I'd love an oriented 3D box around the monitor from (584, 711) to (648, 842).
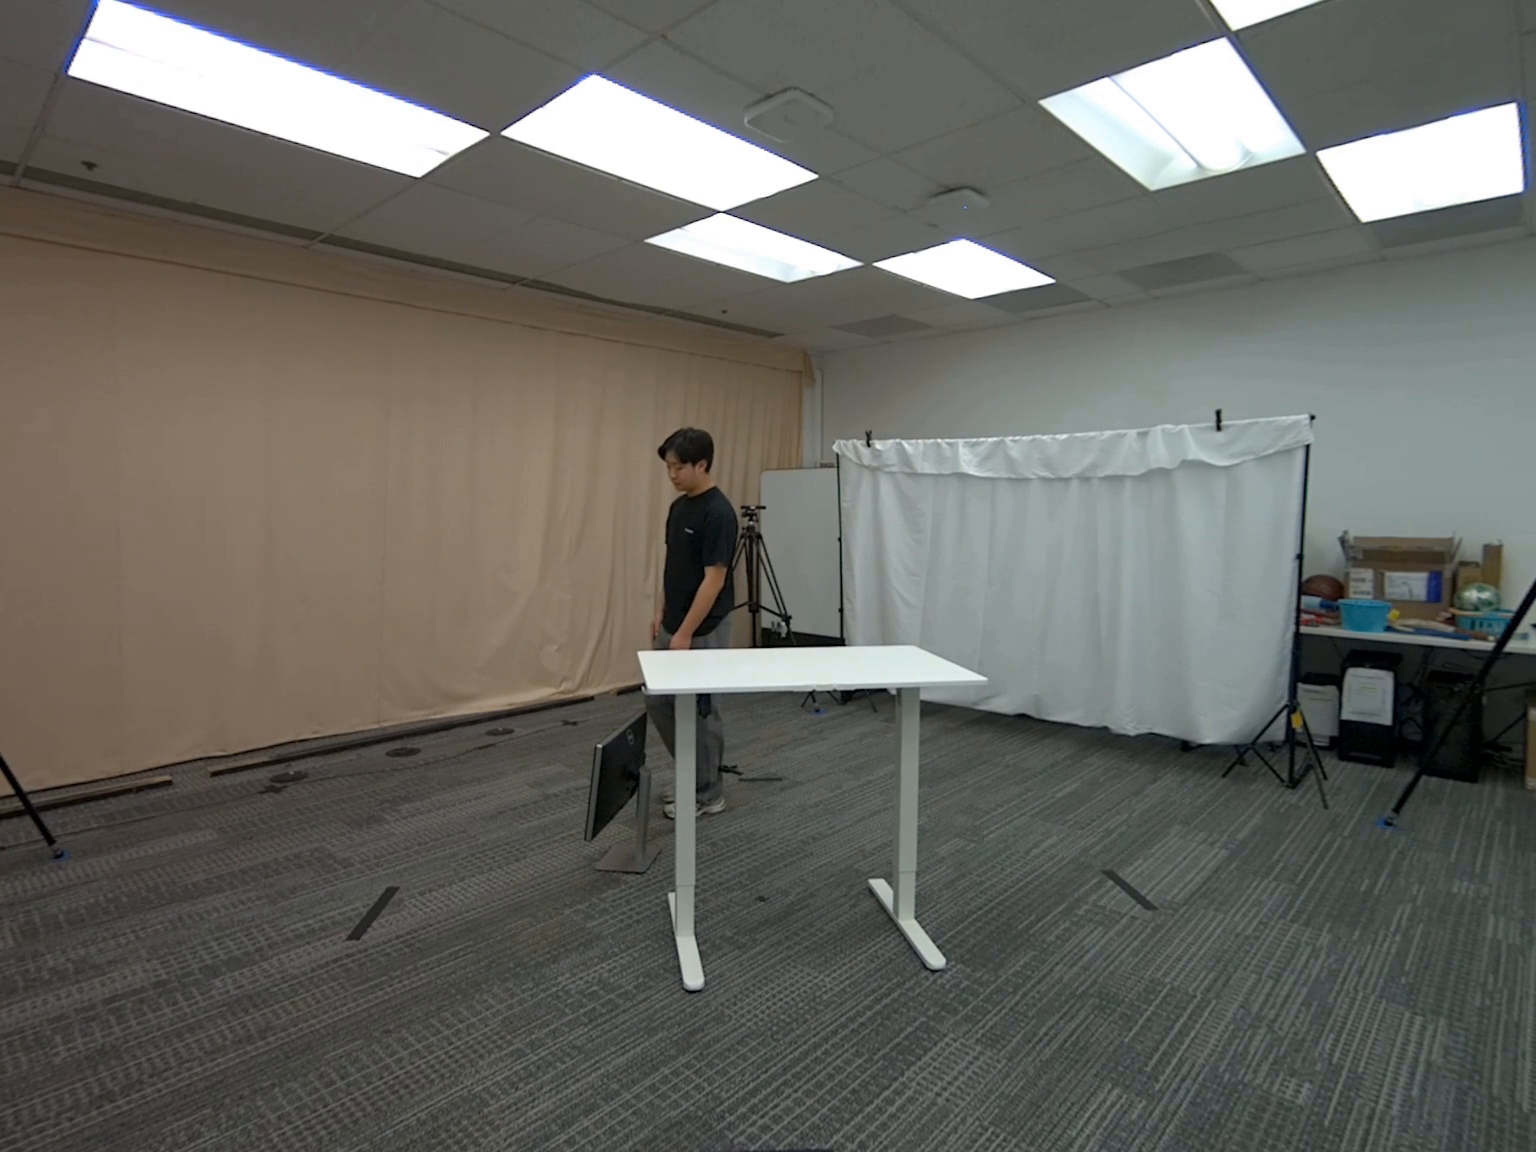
[{"bbox_3d":[-0.561,0.858,3.310,0.225,0.565,0.555,-5,4,12],"label":"monitor"}]
